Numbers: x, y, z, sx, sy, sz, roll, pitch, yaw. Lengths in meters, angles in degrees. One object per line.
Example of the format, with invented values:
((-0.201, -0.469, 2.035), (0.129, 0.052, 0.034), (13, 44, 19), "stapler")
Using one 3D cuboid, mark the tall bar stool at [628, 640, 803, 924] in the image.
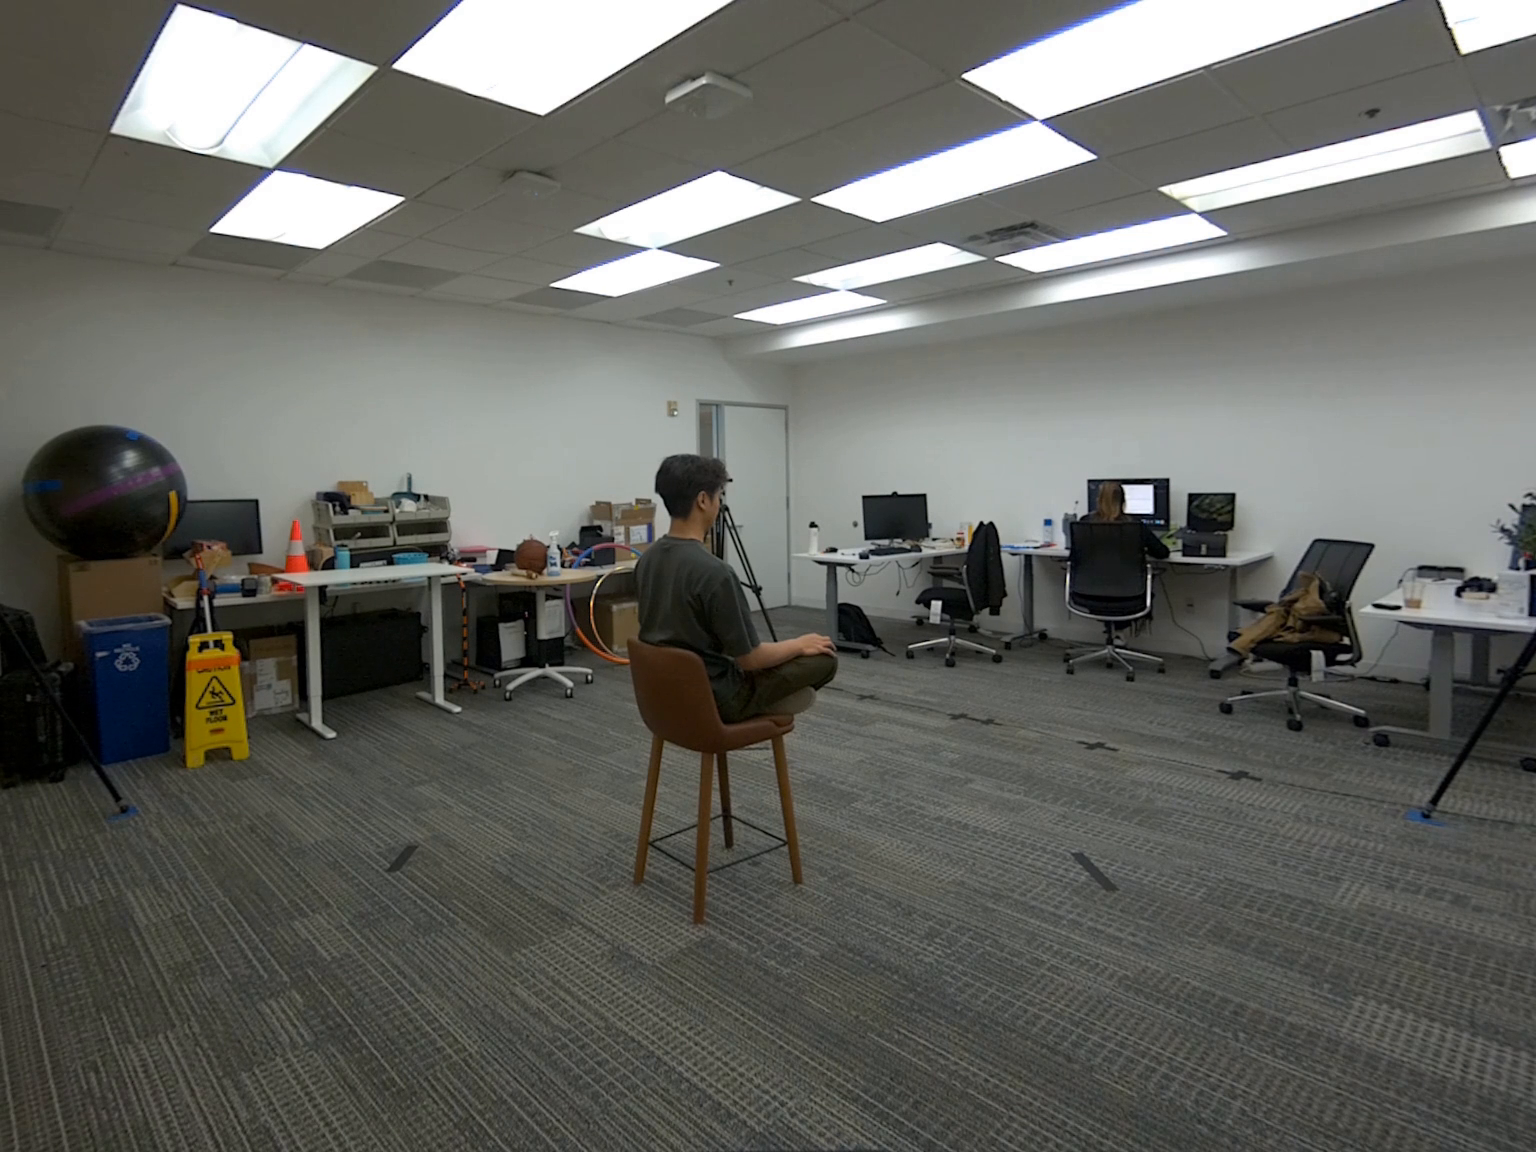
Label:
((-0.193, 0.632, 2.936), (0.456, 0.885, 0.470), (-8, 8, -40), "tall bar stool")
